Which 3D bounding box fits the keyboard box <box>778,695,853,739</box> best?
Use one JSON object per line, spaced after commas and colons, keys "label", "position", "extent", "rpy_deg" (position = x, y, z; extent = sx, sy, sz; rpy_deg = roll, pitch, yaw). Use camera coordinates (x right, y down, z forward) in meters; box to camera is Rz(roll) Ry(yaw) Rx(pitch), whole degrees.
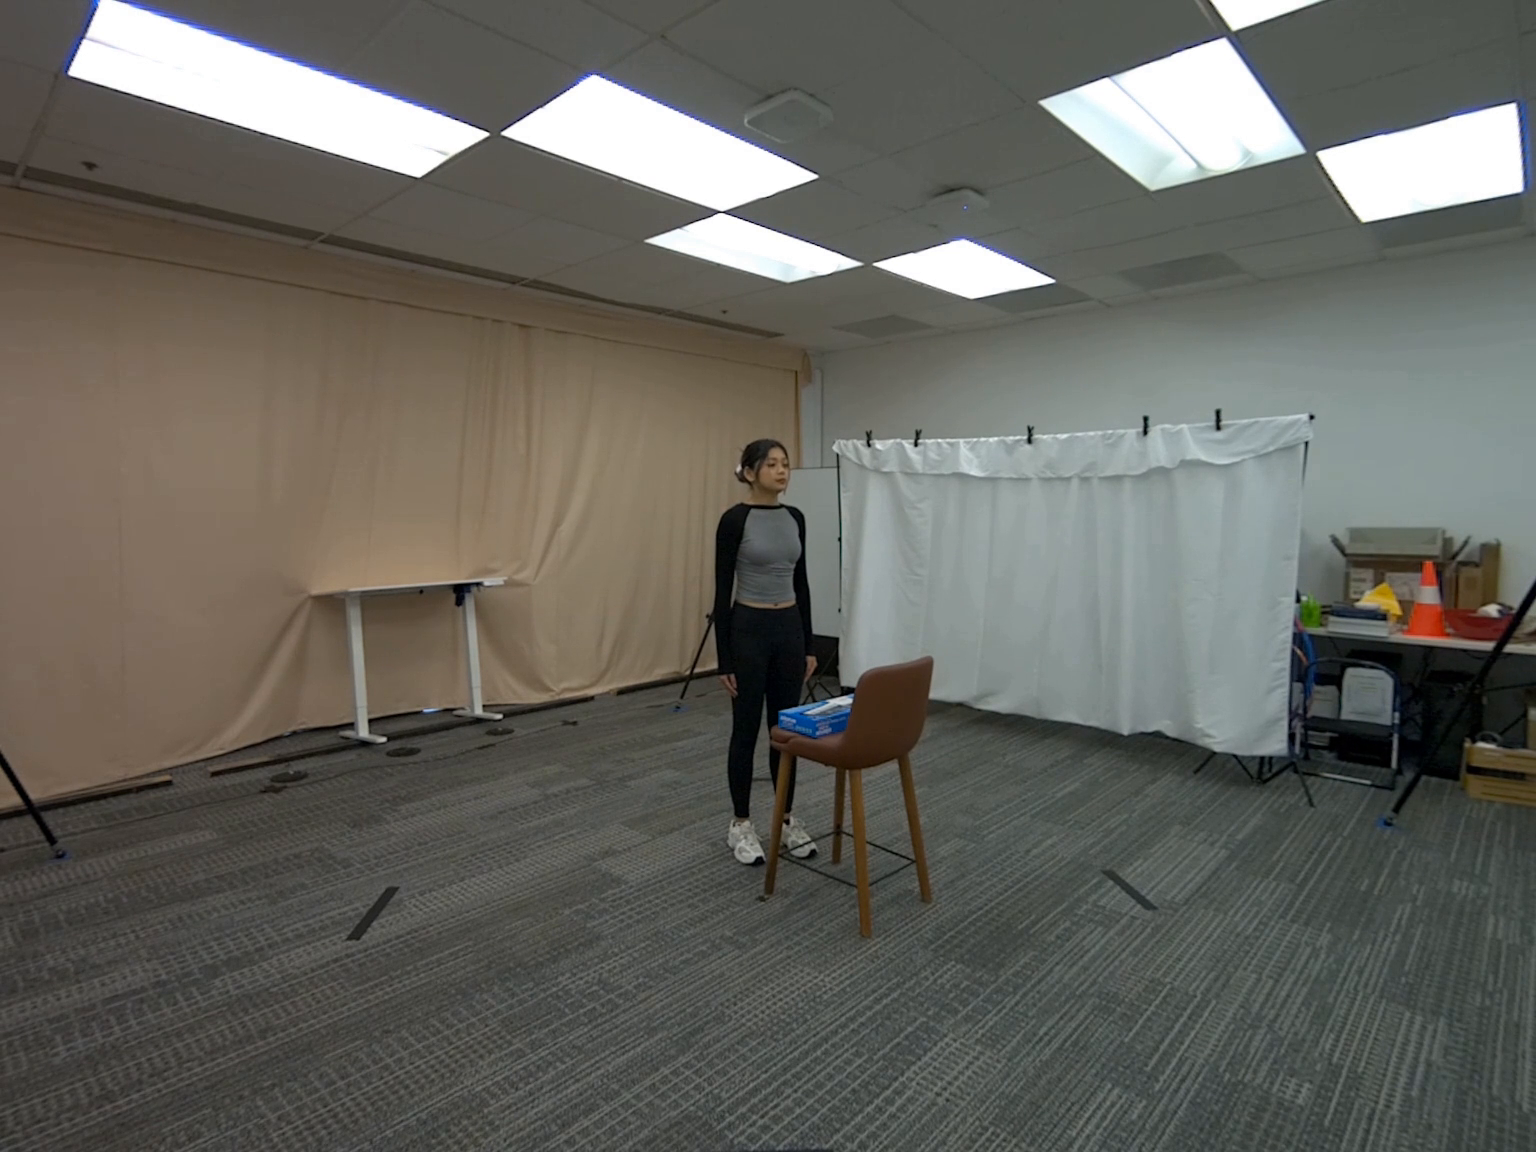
{"label": "keyboard box", "position": [0.253, 0.494, 3.027], "extent": [0.423, 0.059, 0.182], "rpy_deg": [-4, 6, -43]}
